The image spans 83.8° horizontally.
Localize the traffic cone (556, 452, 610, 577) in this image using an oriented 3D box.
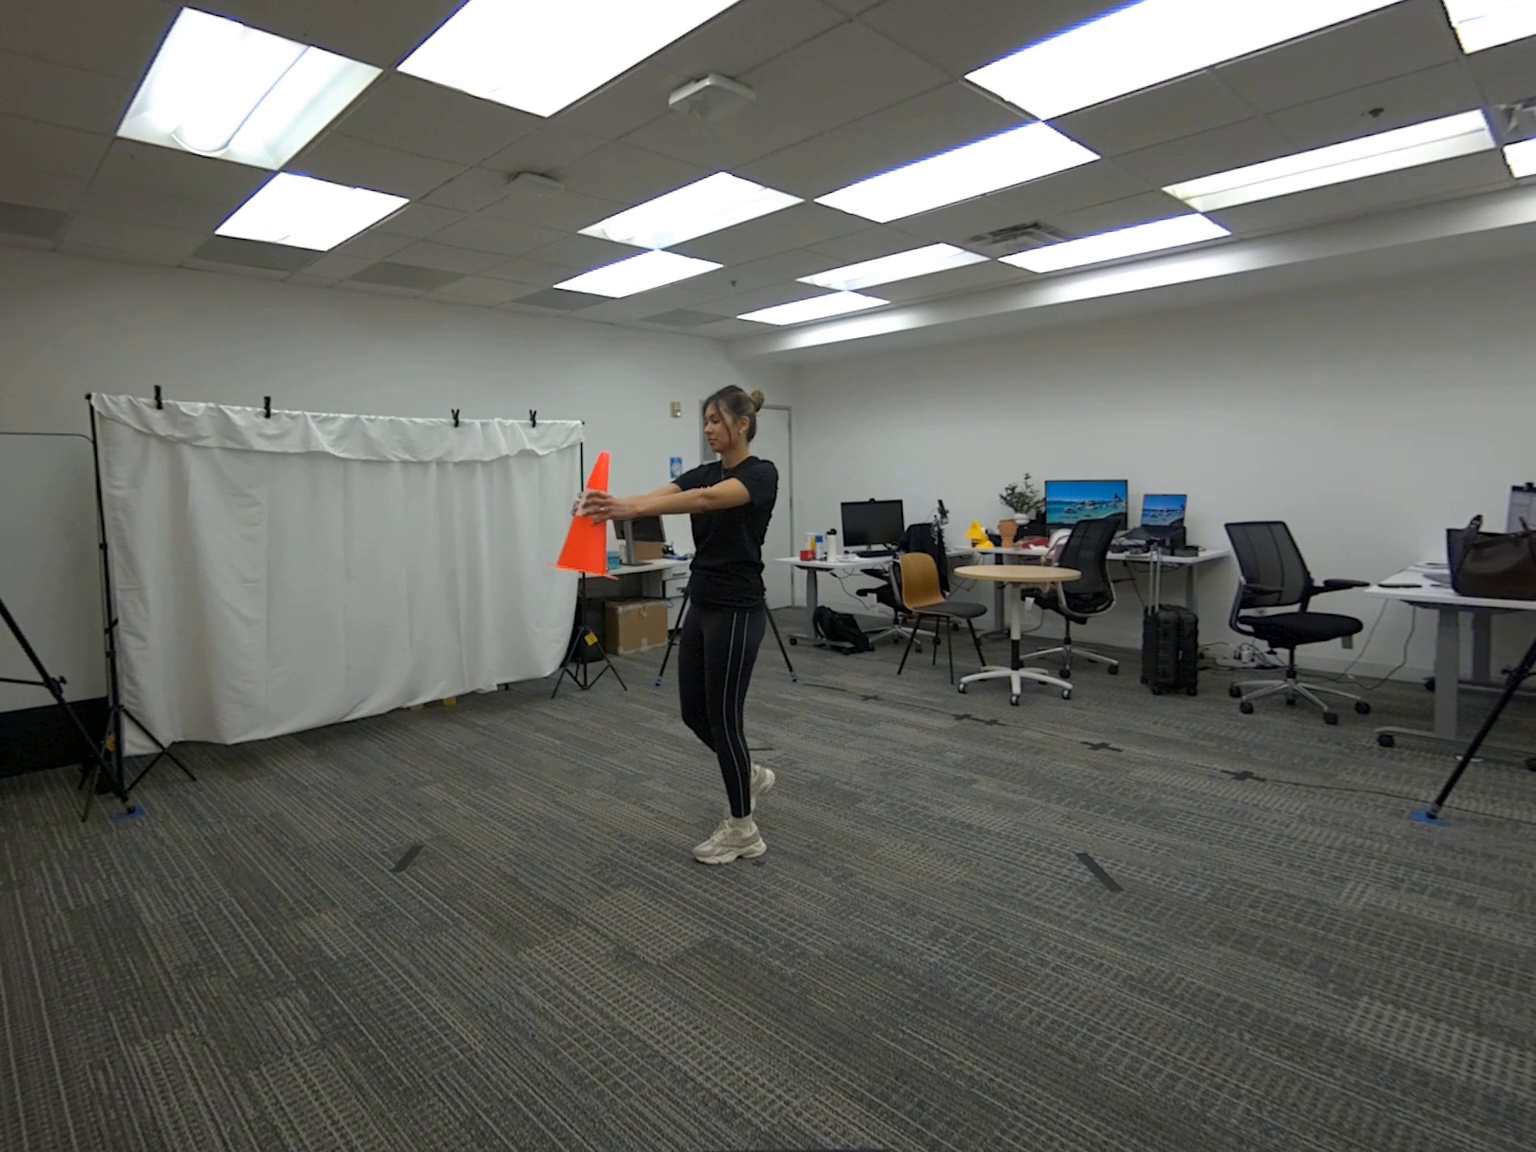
[{"bbox_3d":[-0.549,-0.200,2.699,0.211,0.384,0.197,10,-1,33],"label":"traffic cone"}]
